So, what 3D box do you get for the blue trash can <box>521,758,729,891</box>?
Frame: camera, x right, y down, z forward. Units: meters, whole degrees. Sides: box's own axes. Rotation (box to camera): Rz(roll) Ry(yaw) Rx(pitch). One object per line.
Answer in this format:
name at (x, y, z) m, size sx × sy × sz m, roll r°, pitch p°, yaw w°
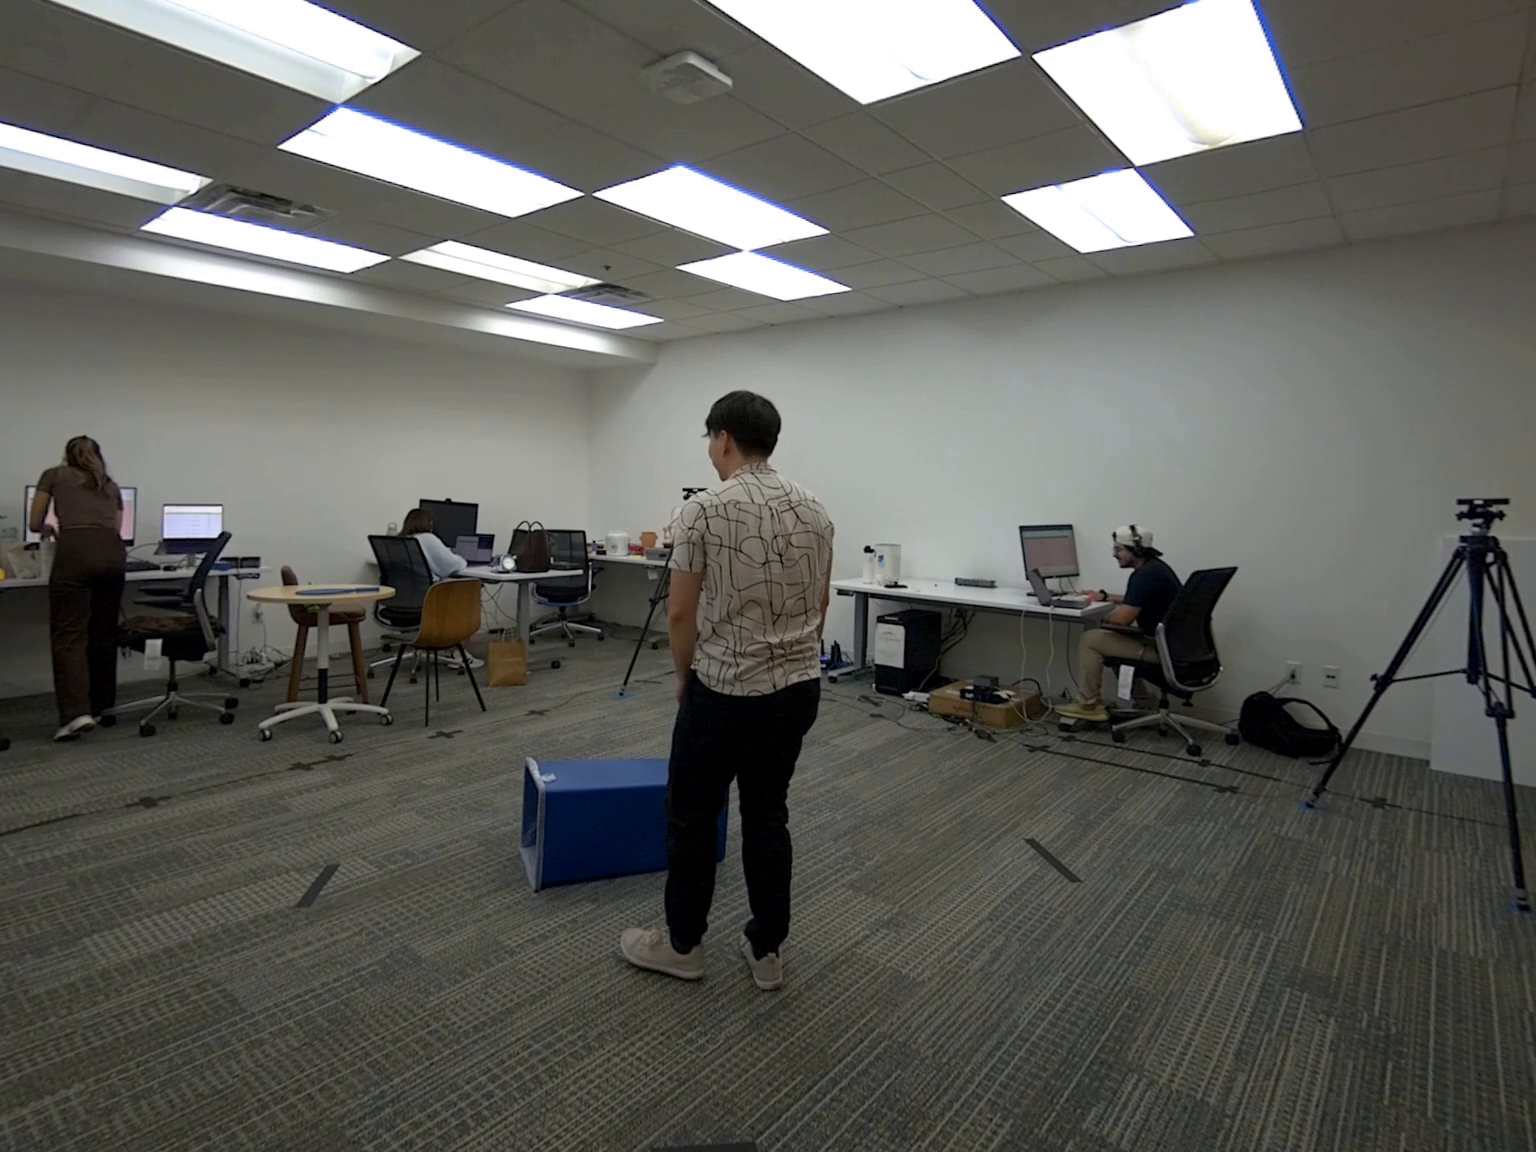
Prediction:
blue trash can at (-0.545, 0.889, 3.174) m, size 0.698 × 0.373 × 0.387 m, roll 3°, pitch 4°, yaw -22°
